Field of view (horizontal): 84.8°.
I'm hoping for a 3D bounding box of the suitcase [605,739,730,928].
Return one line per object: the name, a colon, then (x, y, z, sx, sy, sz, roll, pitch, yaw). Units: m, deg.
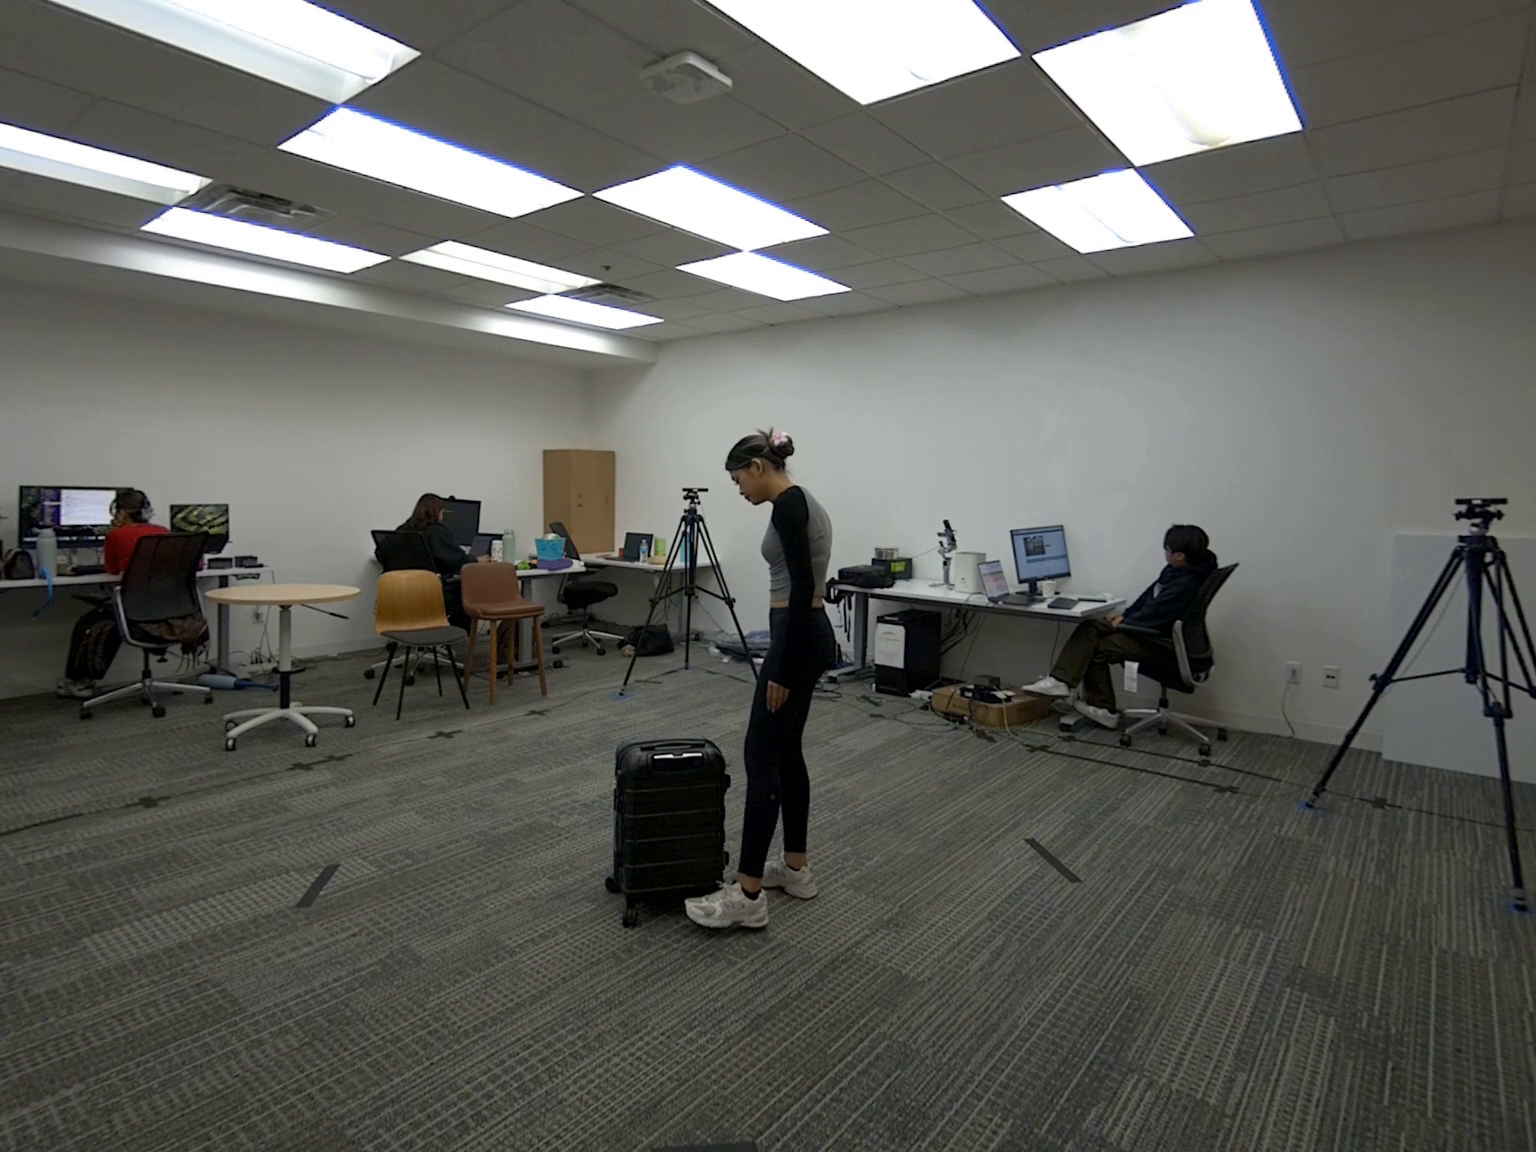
suitcase: (-0.347, 0.815, 2.852, 0.369, 0.548, 0.253, 0, 3, -17)
